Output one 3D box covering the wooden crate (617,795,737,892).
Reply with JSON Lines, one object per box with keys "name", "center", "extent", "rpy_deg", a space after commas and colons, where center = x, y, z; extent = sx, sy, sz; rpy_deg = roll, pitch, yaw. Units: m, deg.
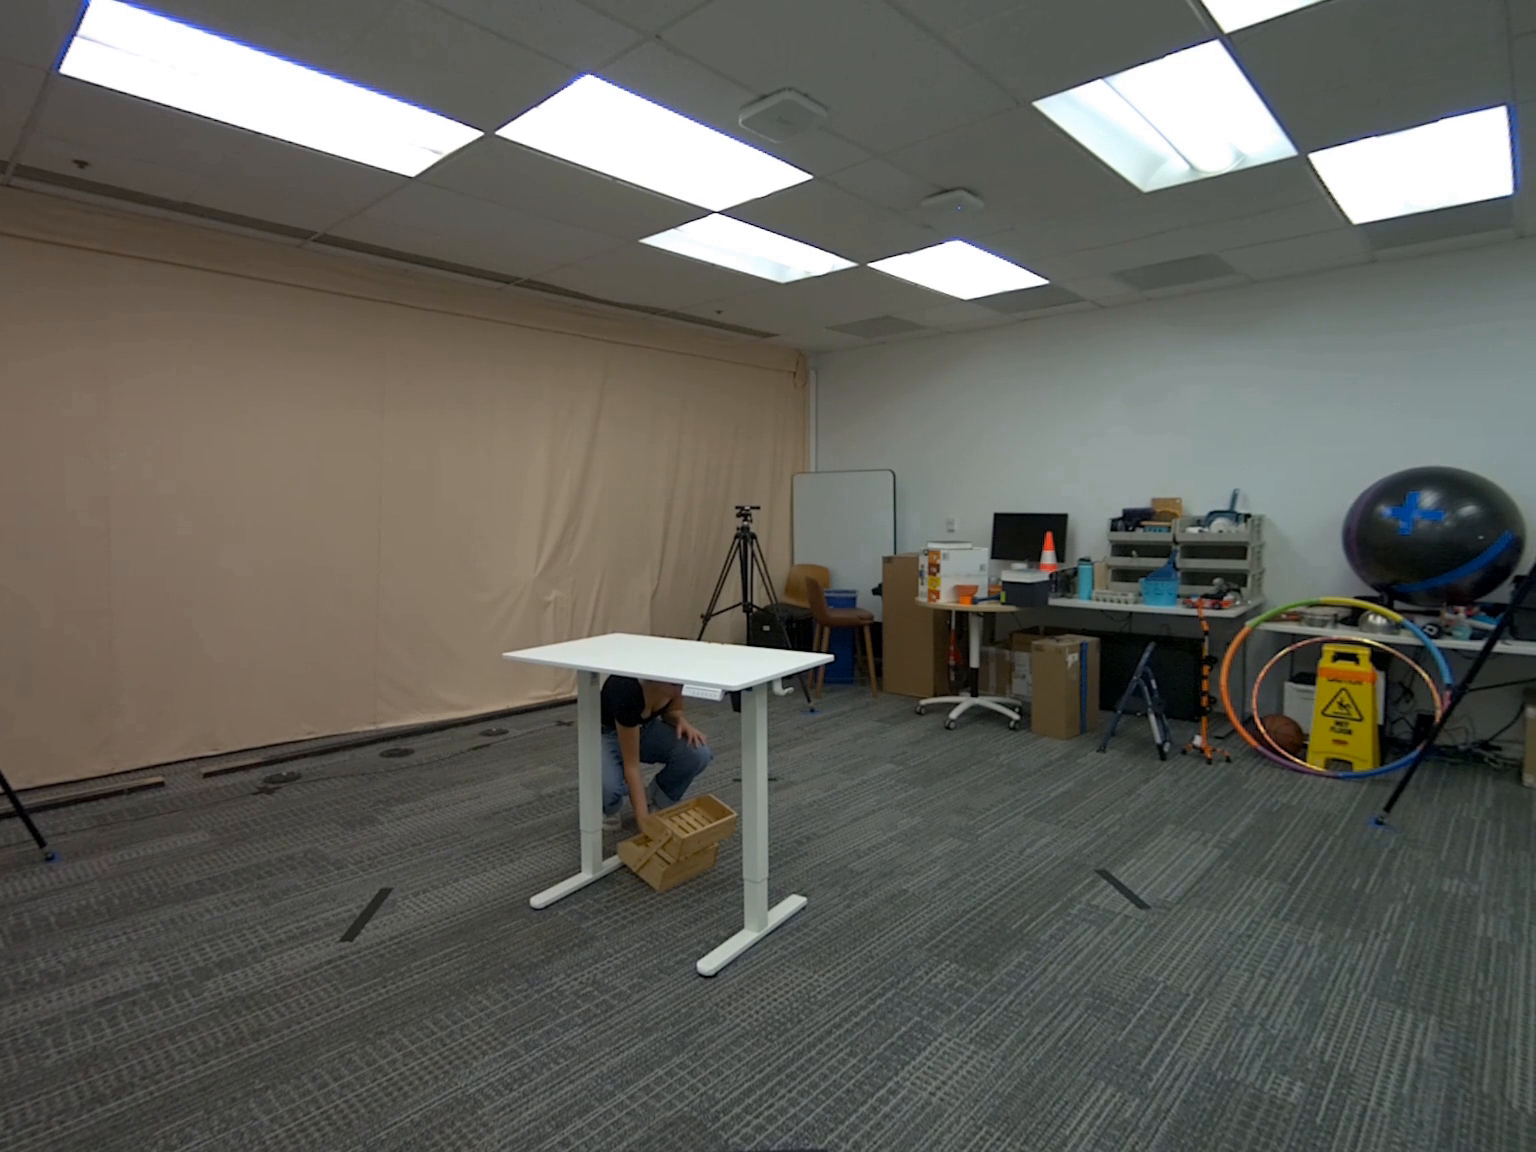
{"name": "wooden crate", "center": [-0.344, 0.975, 3.181], "extent": [0.313, 0.272, 0.315], "rpy_deg": [25, 19, 35]}
